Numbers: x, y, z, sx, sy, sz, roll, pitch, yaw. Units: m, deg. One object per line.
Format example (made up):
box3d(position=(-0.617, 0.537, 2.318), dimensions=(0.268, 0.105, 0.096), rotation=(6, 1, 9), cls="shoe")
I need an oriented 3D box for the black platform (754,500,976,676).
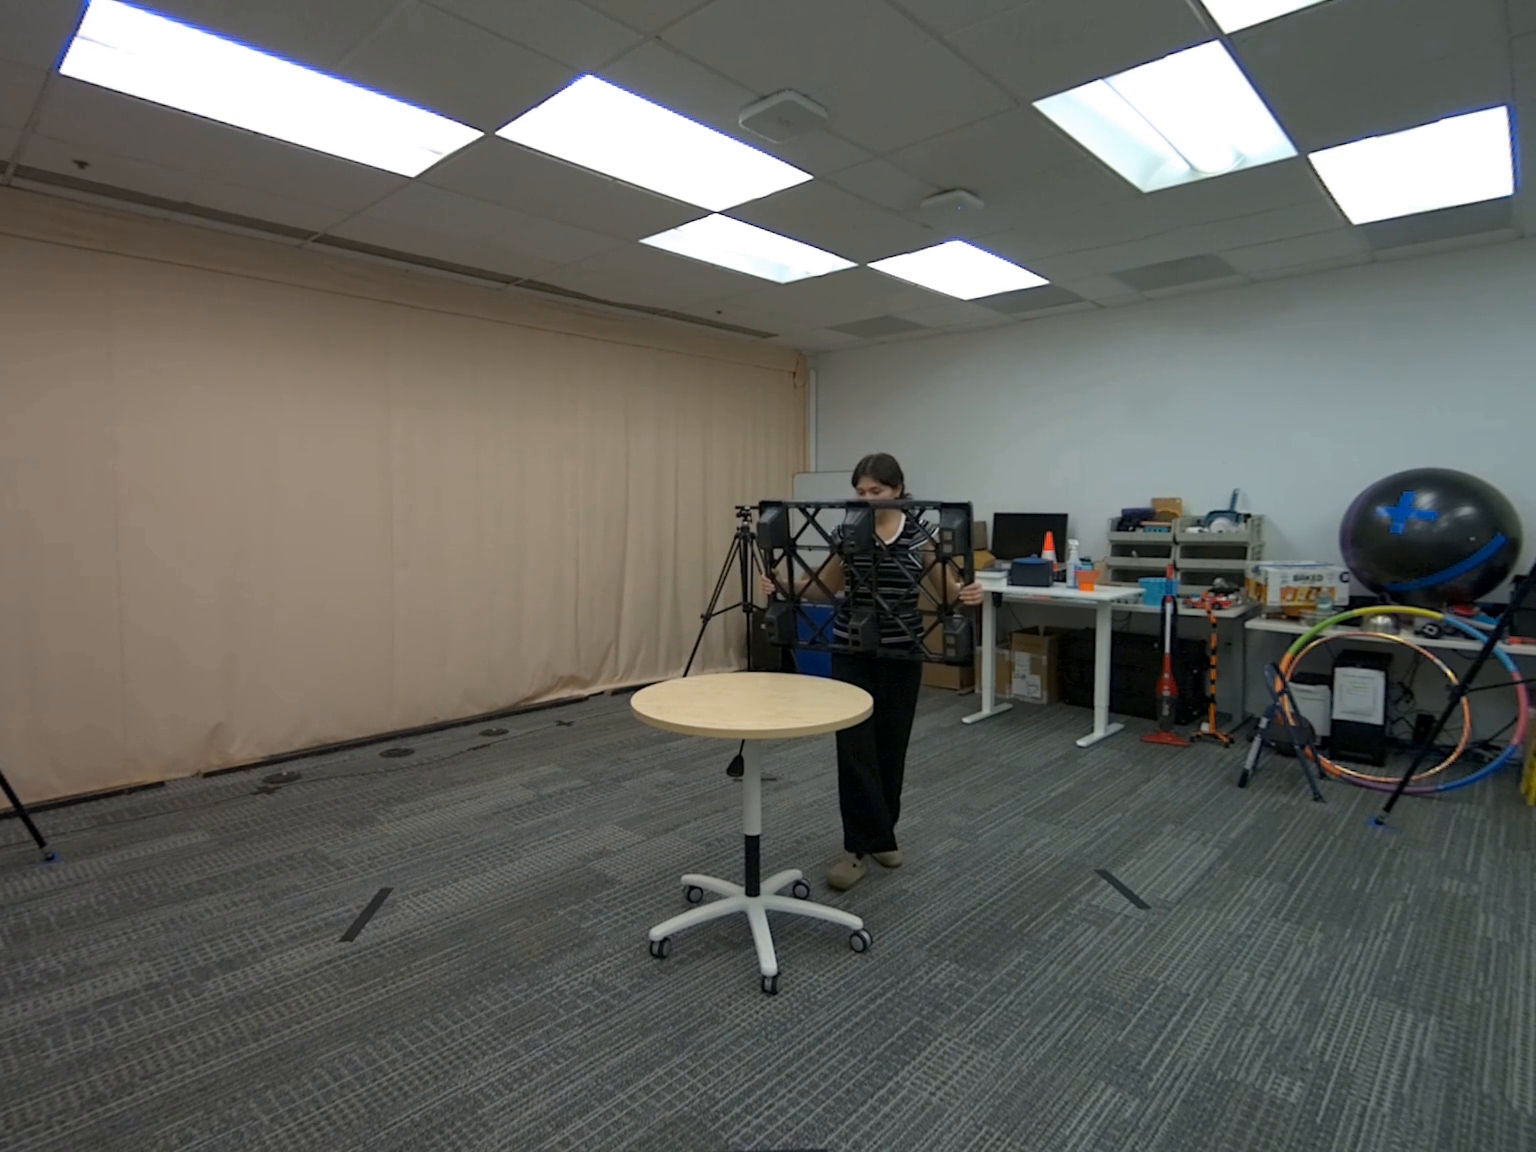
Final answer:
box3d(position=(0.336, 0.022, 3.059), dimensions=(0.828, 0.599, 0.141), rotation=(3, 16, 28), cls="black platform")
